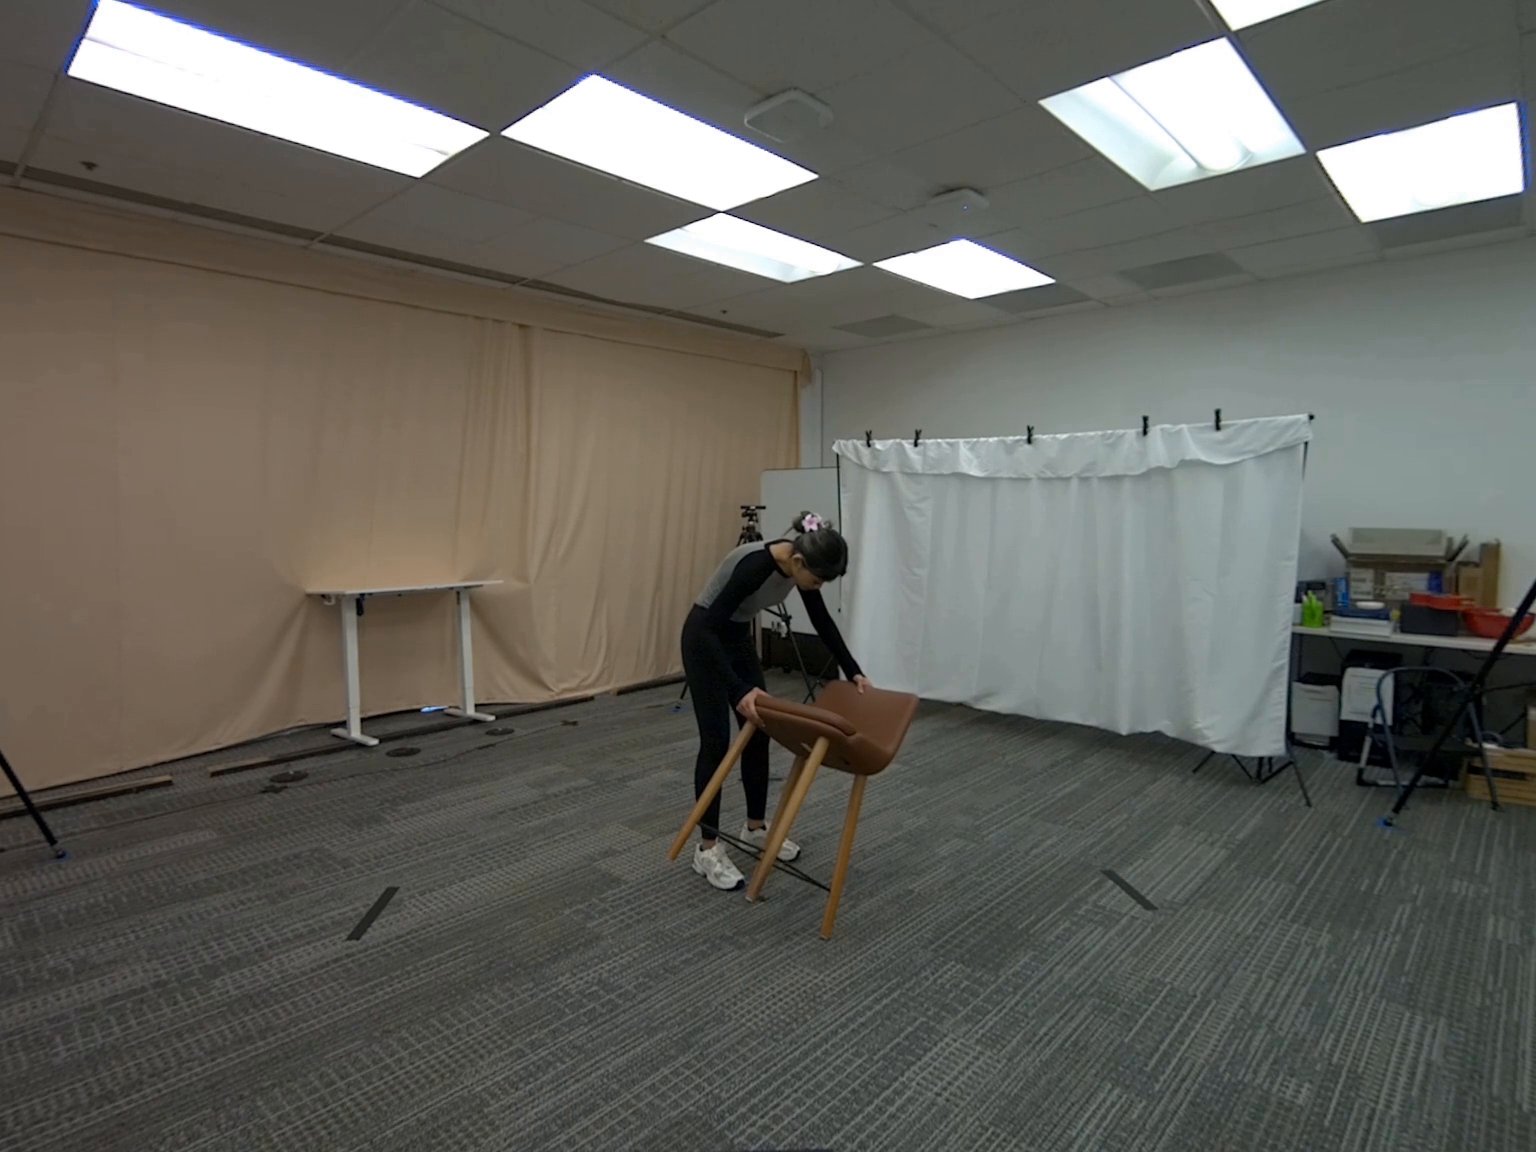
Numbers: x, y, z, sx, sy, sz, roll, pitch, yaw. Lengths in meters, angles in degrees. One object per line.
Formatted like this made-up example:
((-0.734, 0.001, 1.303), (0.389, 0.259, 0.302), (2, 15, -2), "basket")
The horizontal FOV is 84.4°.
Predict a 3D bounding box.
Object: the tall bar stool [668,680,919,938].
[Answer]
((0.127, 0.677, 2.859), (0.472, 0.891, 0.452), (3, -31, 46), "tall bar stool")
